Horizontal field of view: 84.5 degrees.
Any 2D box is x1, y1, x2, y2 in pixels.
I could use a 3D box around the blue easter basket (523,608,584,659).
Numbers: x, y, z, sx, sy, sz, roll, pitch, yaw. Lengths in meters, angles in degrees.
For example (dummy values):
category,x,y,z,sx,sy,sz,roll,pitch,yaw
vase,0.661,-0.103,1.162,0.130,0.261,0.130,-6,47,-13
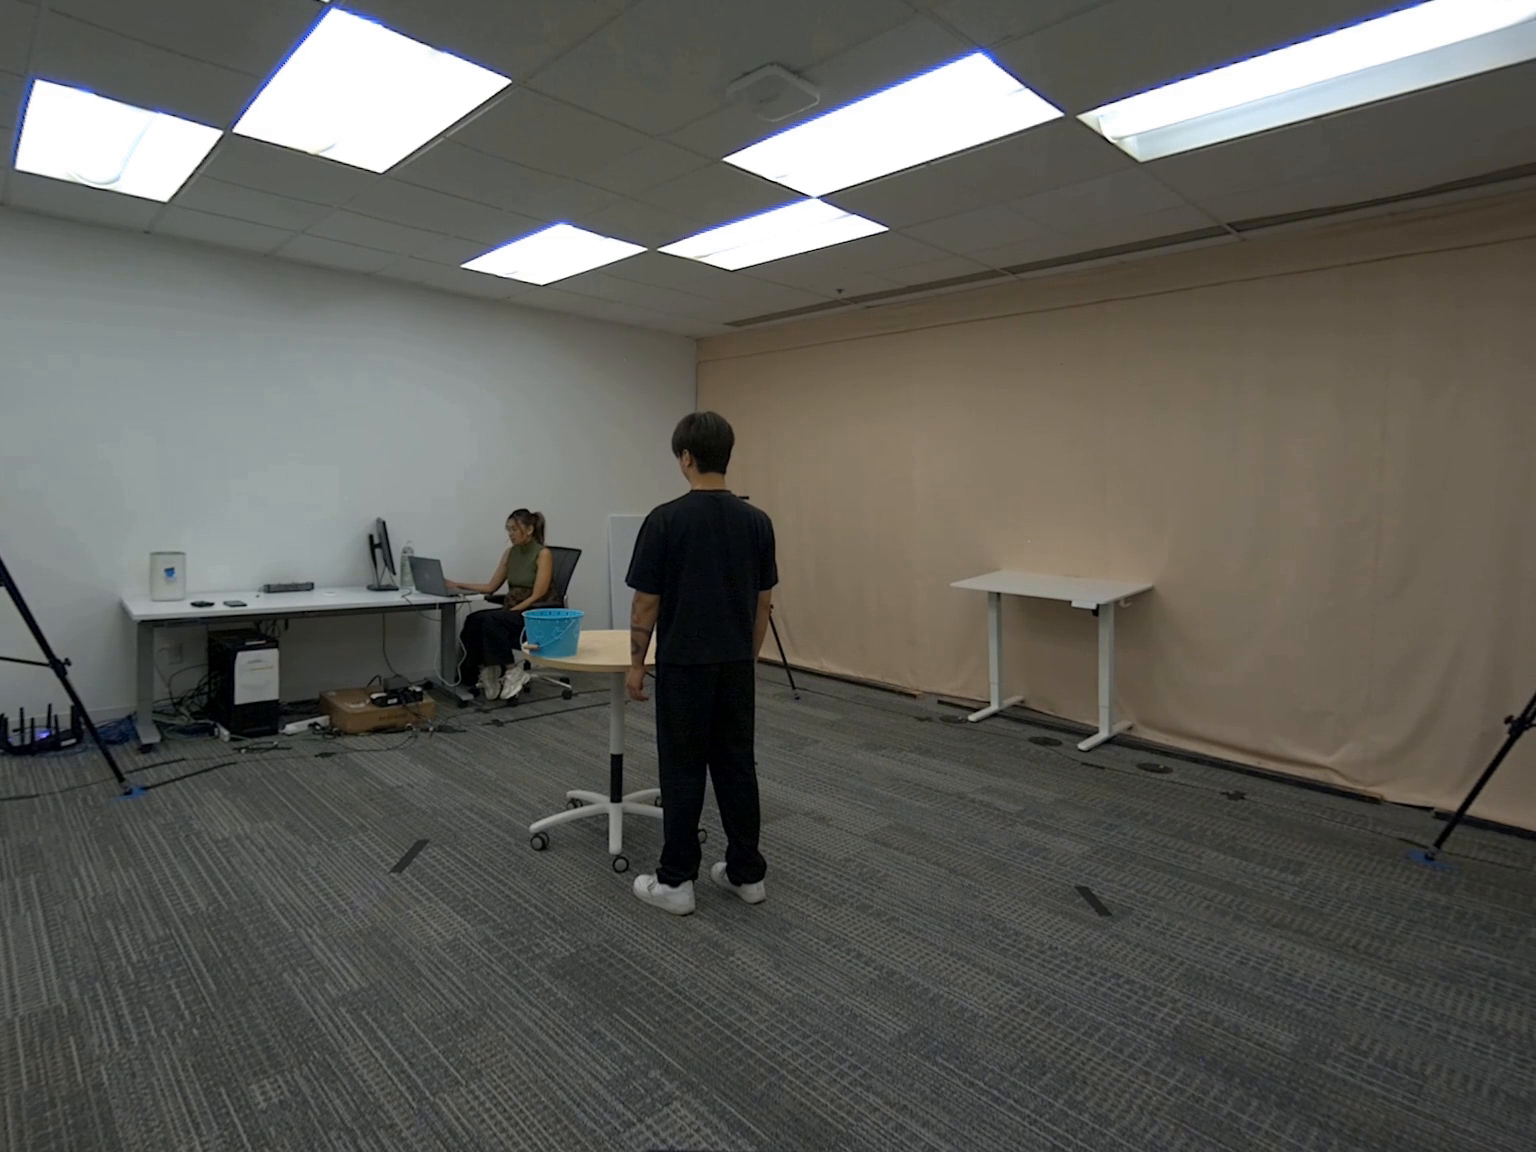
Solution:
category,x,y,z,sx,sy,sz,roll,pitch,yaw
blue easter basket,-0.853,0.223,3.222,0.243,0.155,0.244,2,4,-2
